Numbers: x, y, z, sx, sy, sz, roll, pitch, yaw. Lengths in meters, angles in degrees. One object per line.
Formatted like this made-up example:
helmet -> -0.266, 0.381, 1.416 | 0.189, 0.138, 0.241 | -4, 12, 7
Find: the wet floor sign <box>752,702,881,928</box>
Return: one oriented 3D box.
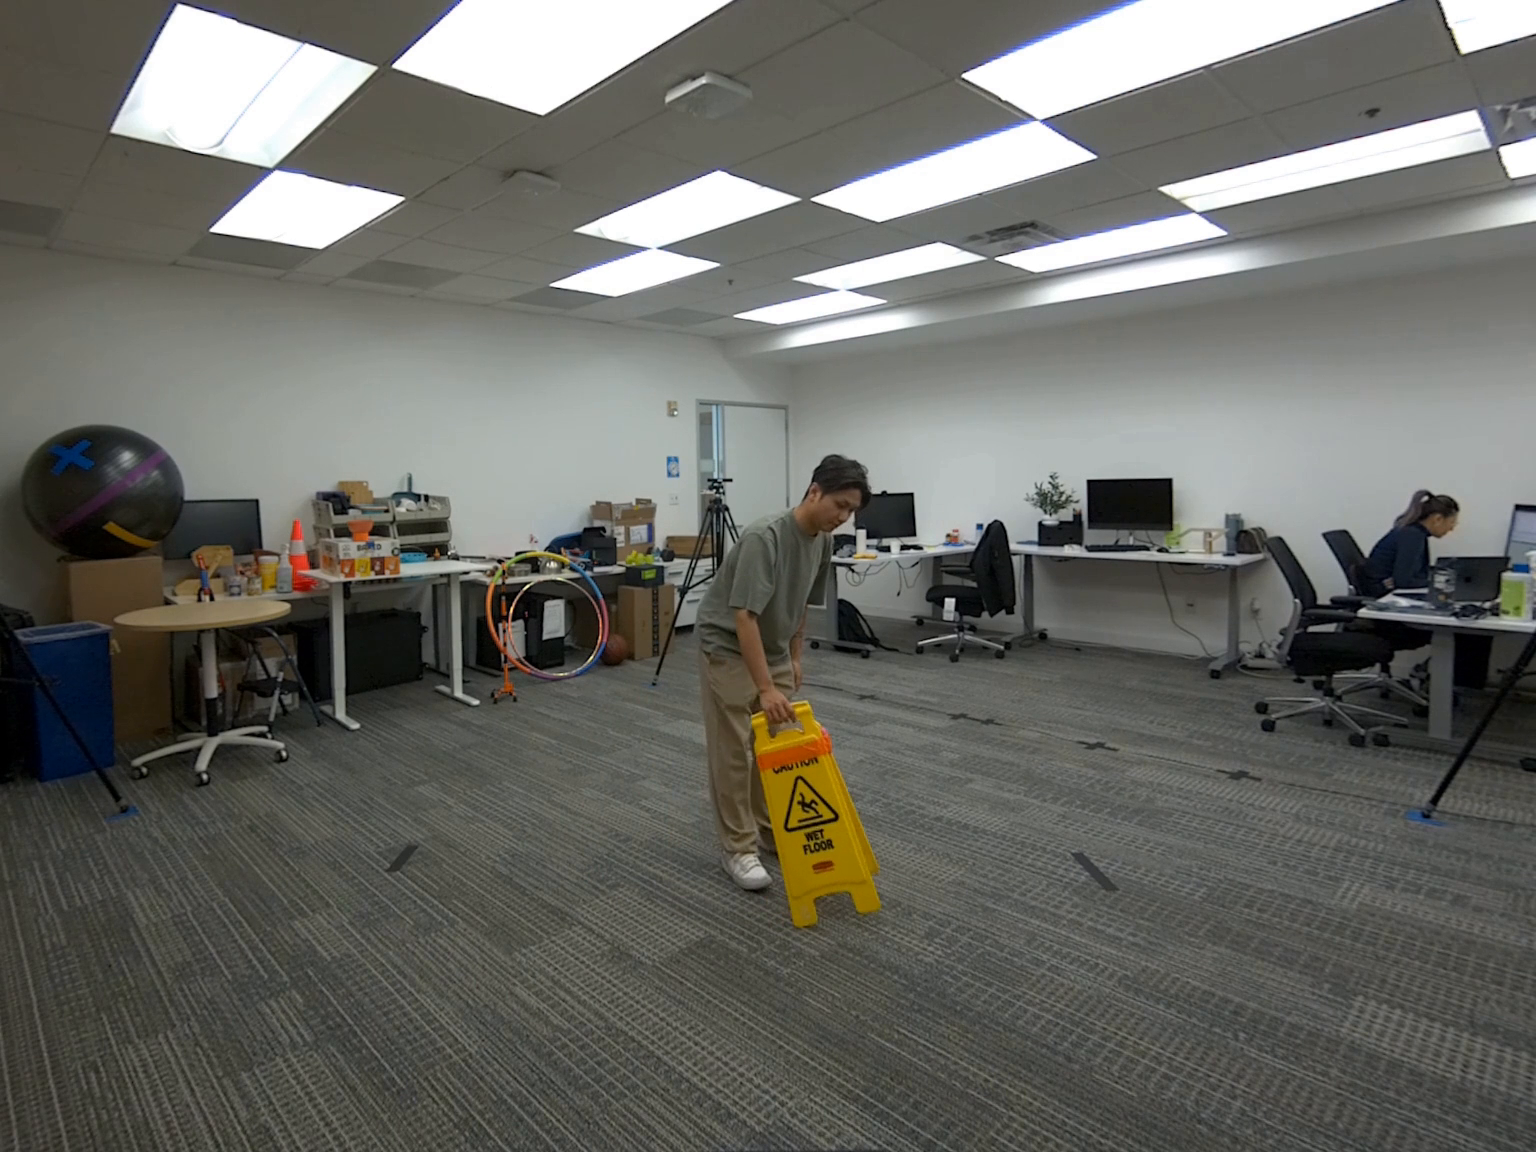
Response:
wet floor sign -> 0.140, 0.743, 2.761 | 0.284, 0.646, 0.288 | -16, 1, 9
